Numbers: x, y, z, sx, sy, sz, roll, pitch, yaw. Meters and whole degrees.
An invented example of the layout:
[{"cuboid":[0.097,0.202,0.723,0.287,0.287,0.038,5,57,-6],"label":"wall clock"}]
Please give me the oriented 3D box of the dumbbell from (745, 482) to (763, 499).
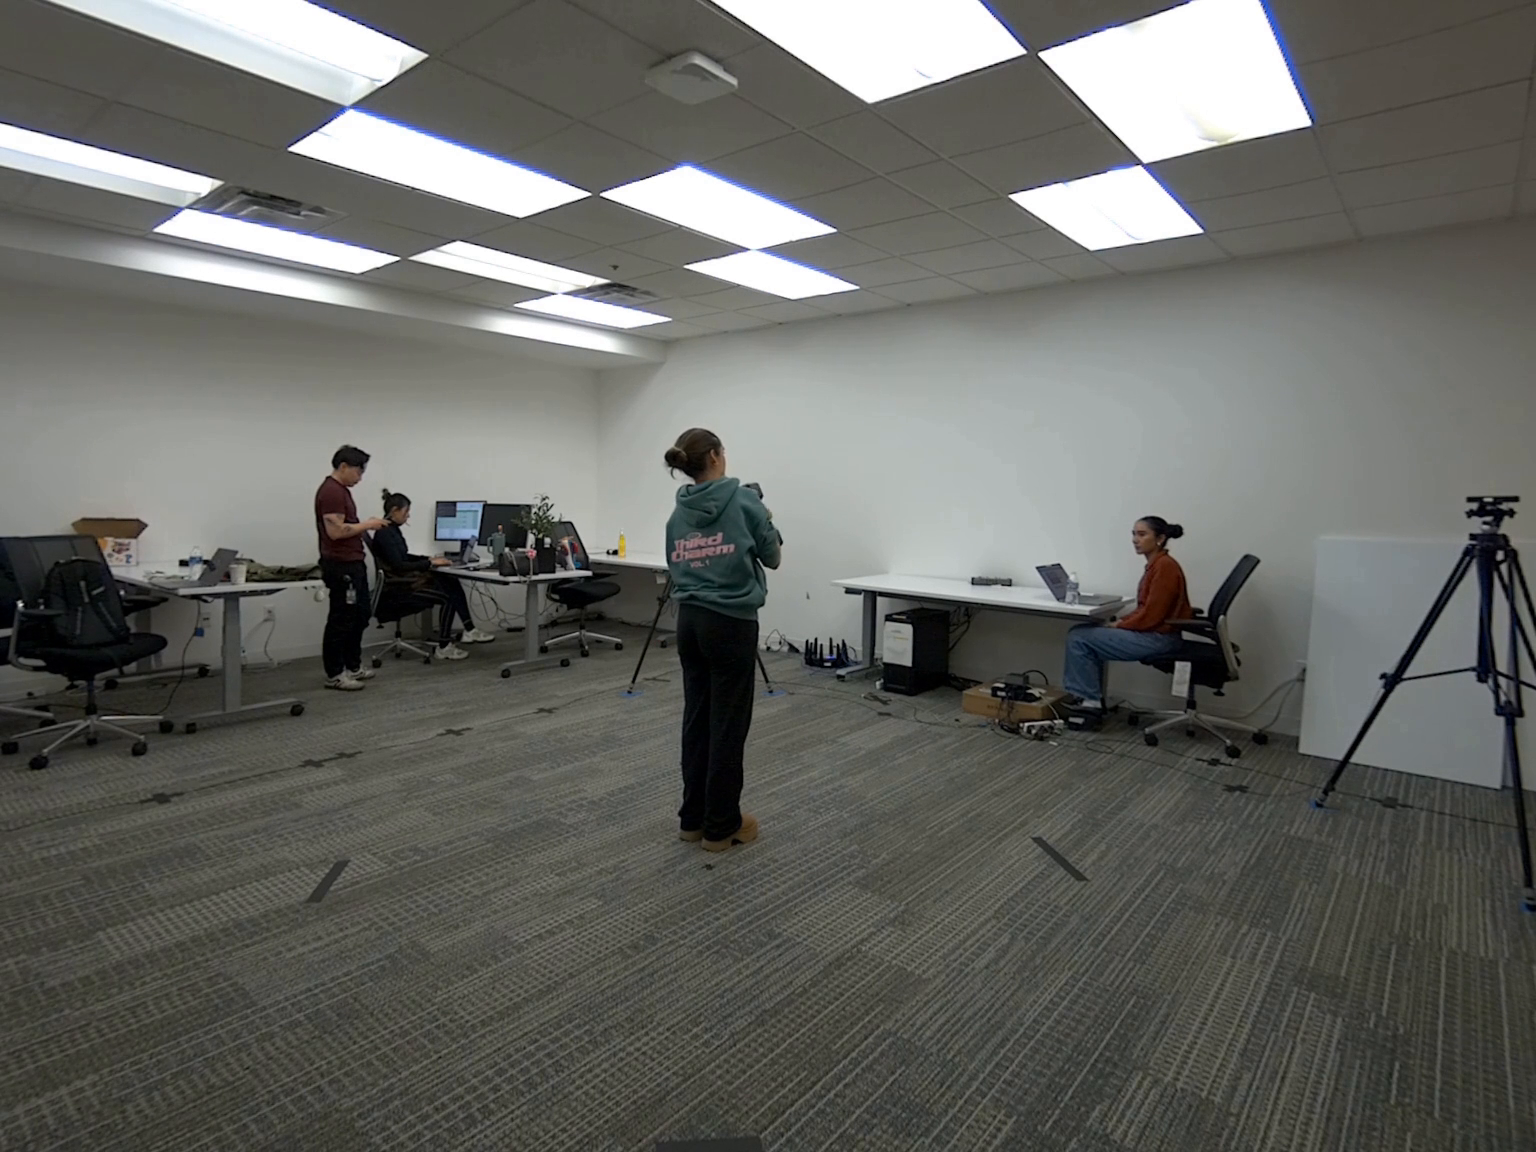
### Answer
[{"cuboid":[-0.062,-0.248,3.526,0.110,0.297,0.120,-29,-10,33],"label":"dumbbell"}]
